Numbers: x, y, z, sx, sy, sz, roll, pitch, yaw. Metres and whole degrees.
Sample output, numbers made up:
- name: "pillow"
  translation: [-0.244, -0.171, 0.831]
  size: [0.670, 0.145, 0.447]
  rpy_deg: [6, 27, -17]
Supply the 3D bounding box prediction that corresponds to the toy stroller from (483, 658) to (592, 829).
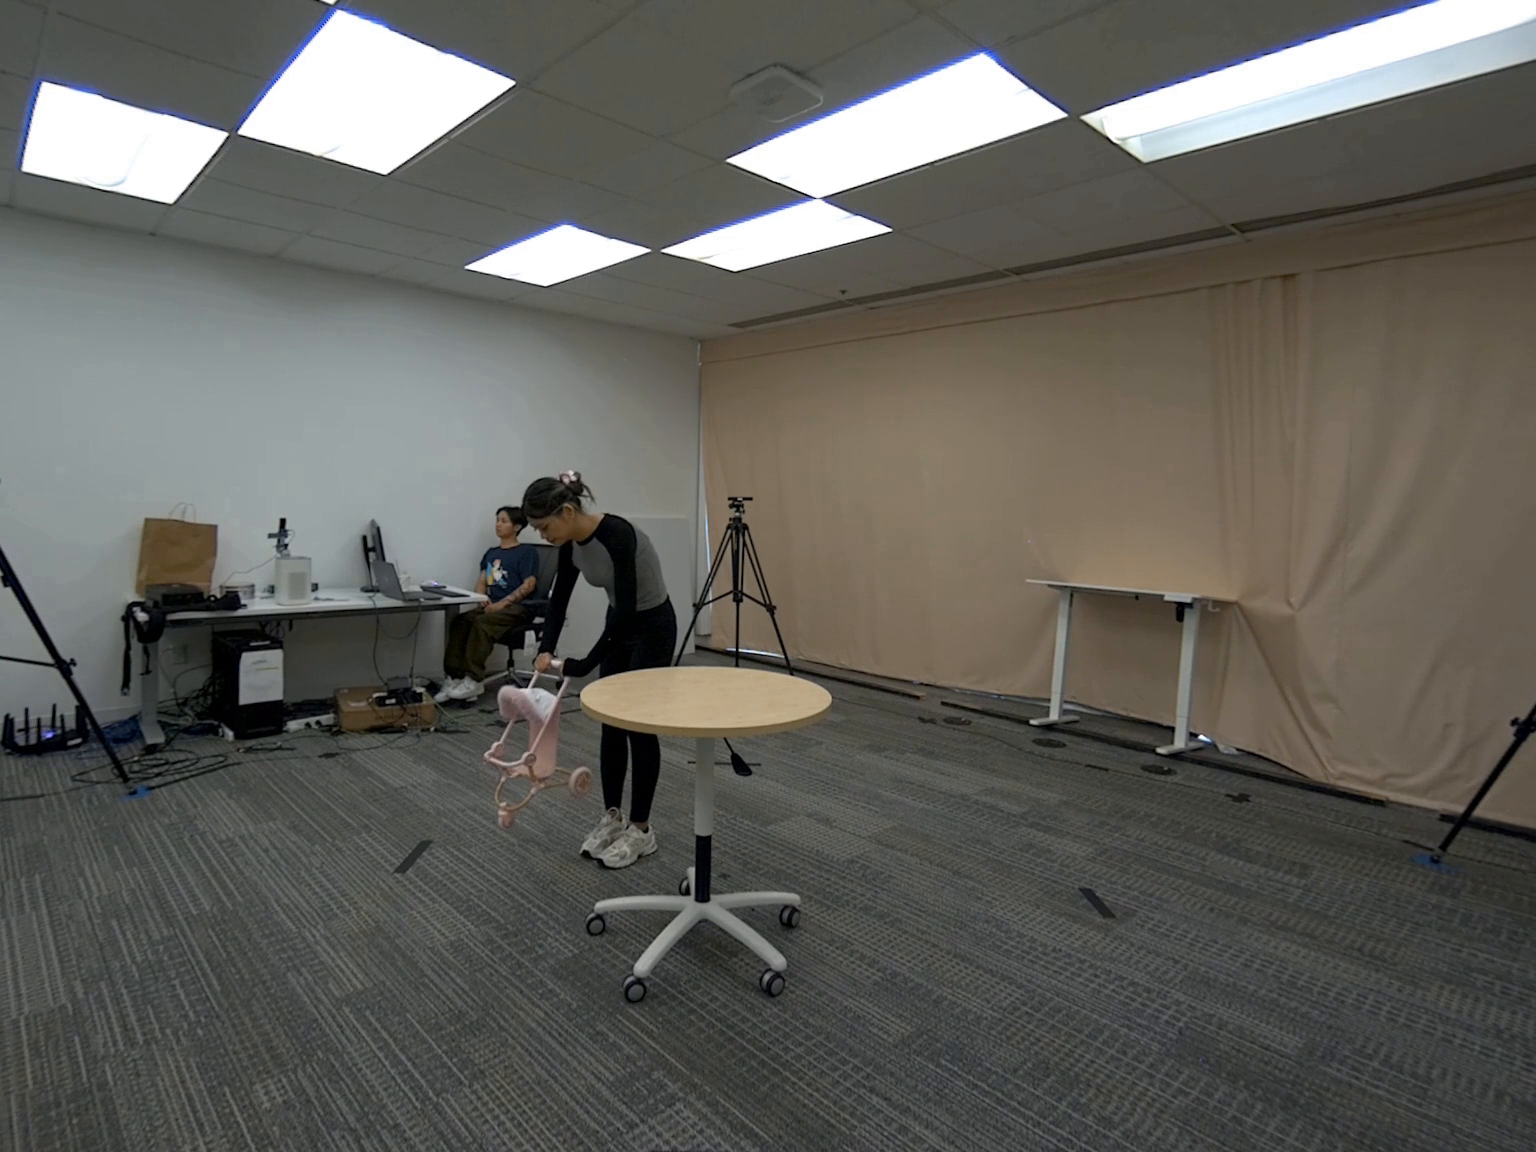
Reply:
- name: "toy stroller"
  translation: [-0.864, 0.614, 3.015]
  size: [0.288, 0.531, 0.335]
  rpy_deg: [3, 11, 45]
